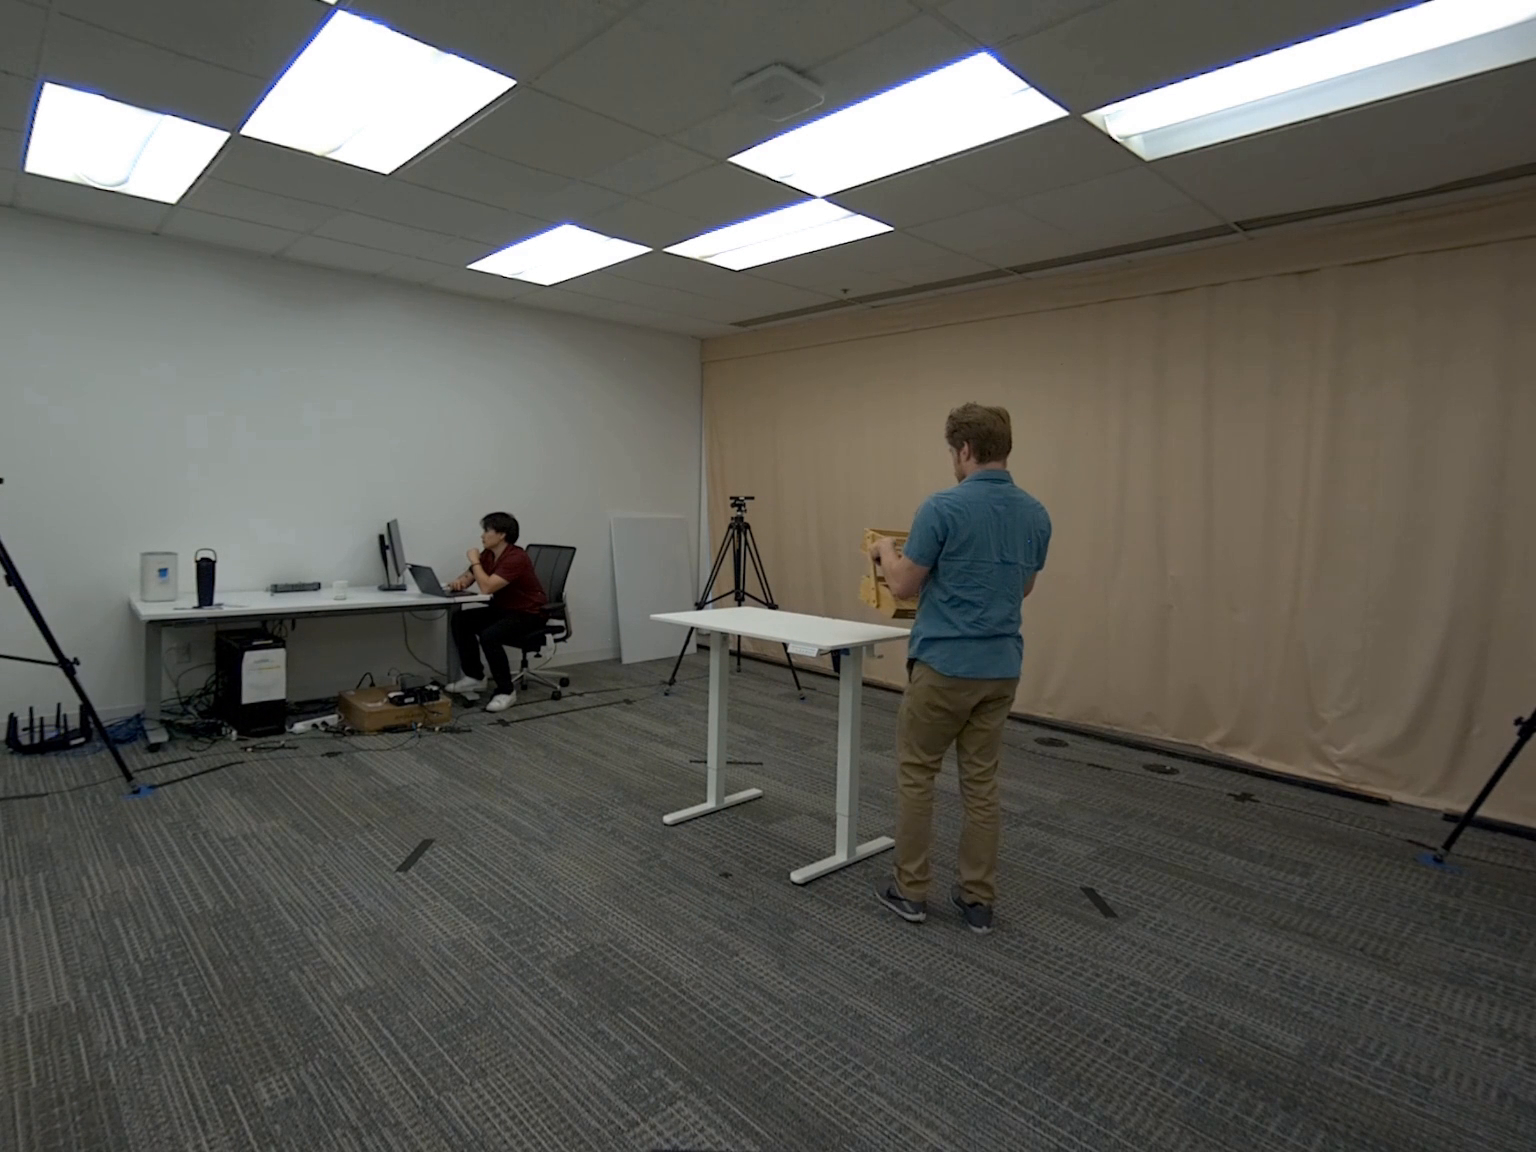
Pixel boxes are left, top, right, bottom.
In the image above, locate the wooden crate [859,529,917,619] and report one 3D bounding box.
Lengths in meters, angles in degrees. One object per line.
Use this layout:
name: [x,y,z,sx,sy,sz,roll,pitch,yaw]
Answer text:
wooden crate: [0.531,-0.005,3.092,0.318,0.271,0.310,3,14,-24]
